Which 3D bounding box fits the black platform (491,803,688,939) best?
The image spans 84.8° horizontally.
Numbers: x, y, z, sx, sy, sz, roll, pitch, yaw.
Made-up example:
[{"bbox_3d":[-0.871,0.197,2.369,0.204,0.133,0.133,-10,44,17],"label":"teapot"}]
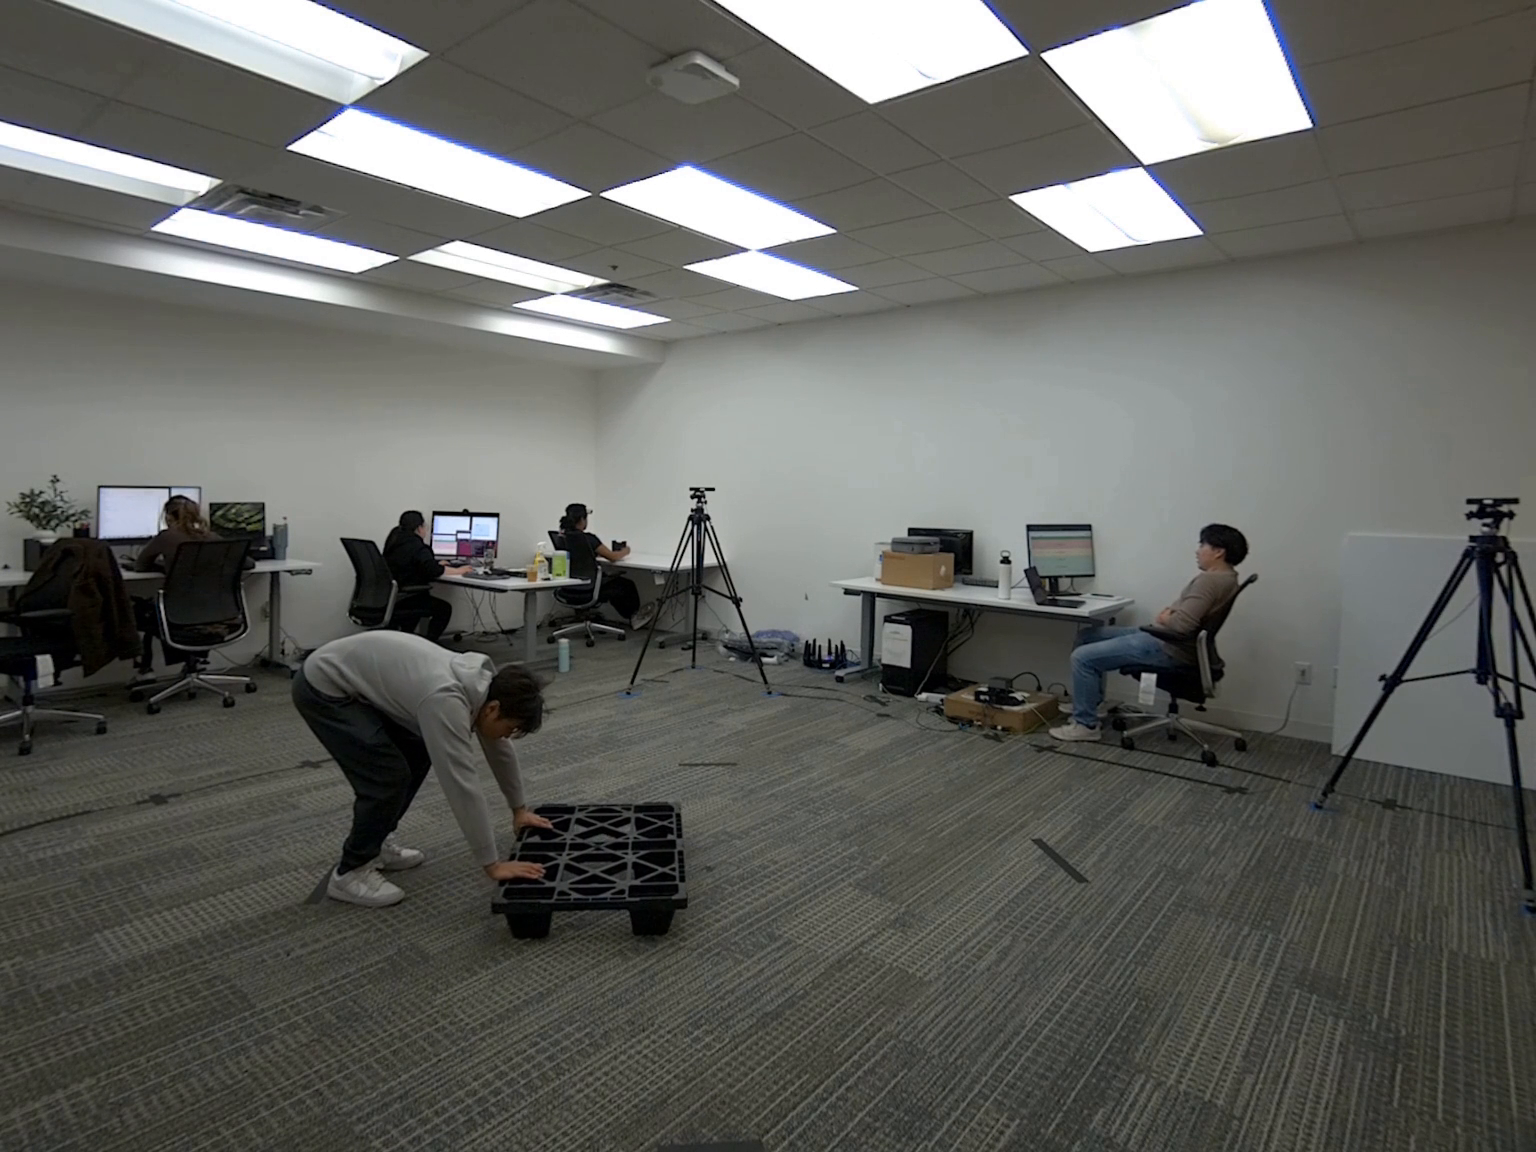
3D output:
[{"bbox_3d":[-0.600,1.003,2.980,0.602,0.143,0.814,1,6,-6],"label":"black platform"}]
